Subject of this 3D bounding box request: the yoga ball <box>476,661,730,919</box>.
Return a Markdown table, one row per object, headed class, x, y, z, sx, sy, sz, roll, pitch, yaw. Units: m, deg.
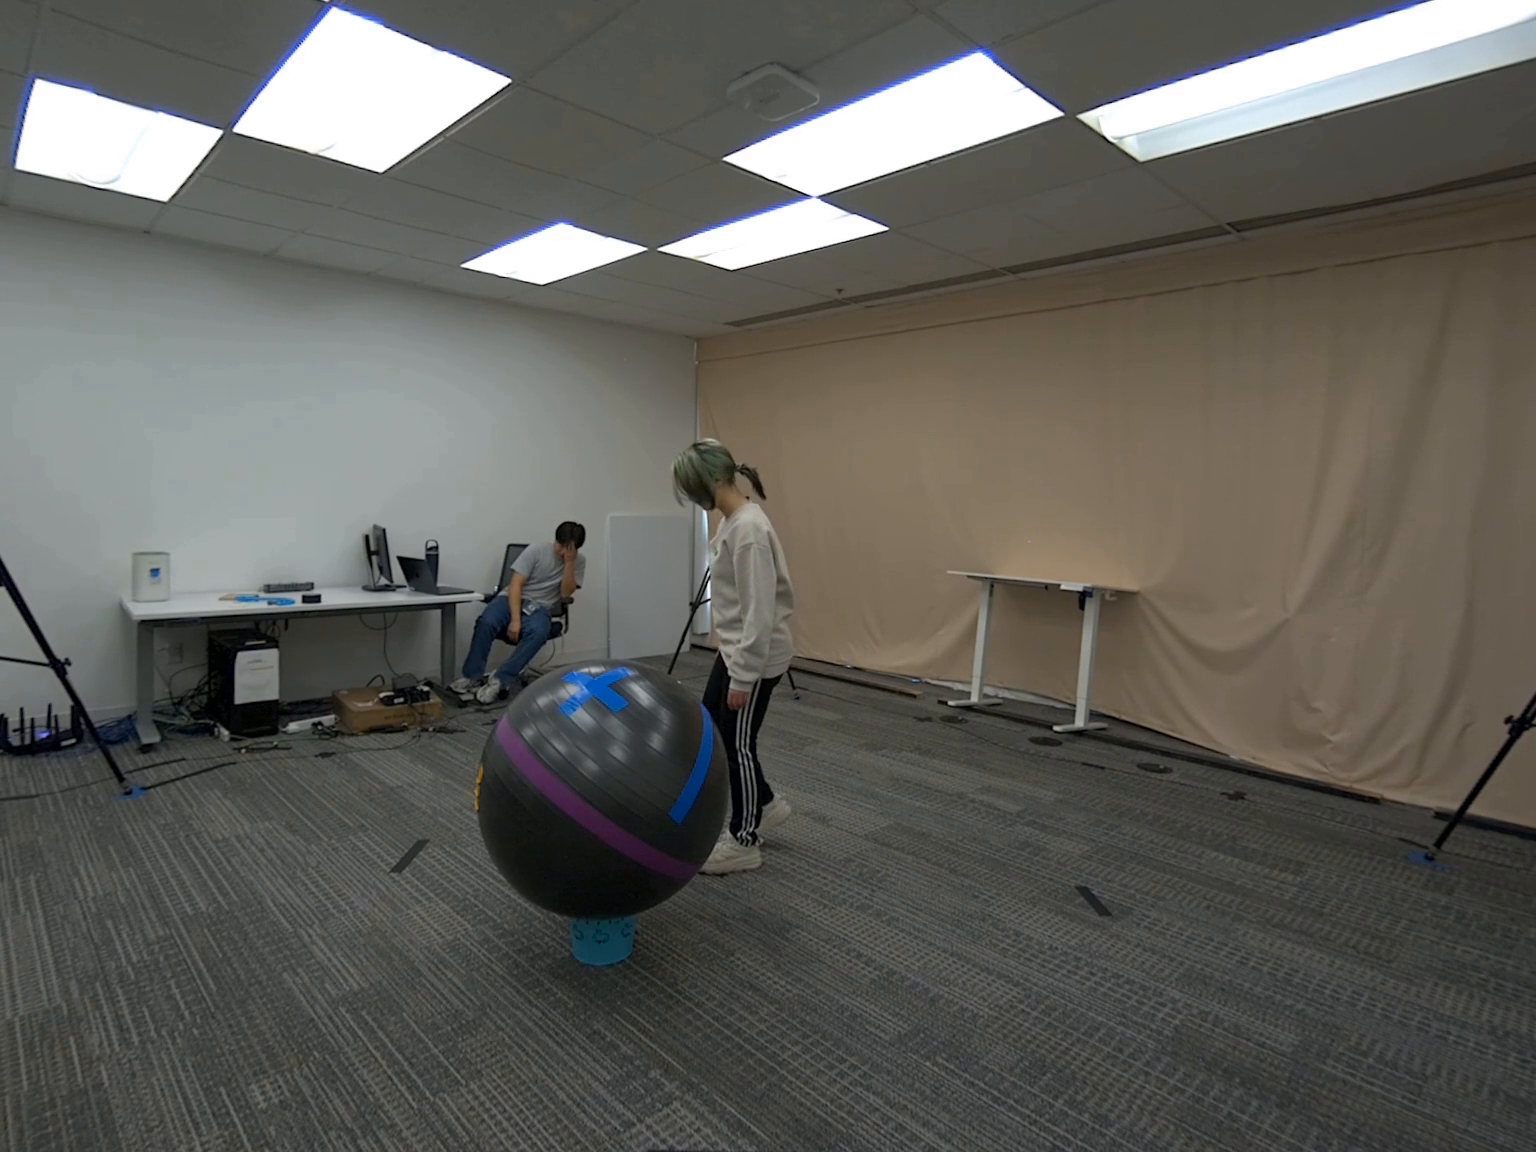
| class | x | y | z | sx | sy | sz | roll | pitch | yaw |
| --- | --- | --- | --- | --- | --- | --- | --- | --- | --- |
| yoga ball | -0.502 | 0.639 | 2.553 | 0.757 | 0.756 | 0.761 | 1 | 4 | -1 |
